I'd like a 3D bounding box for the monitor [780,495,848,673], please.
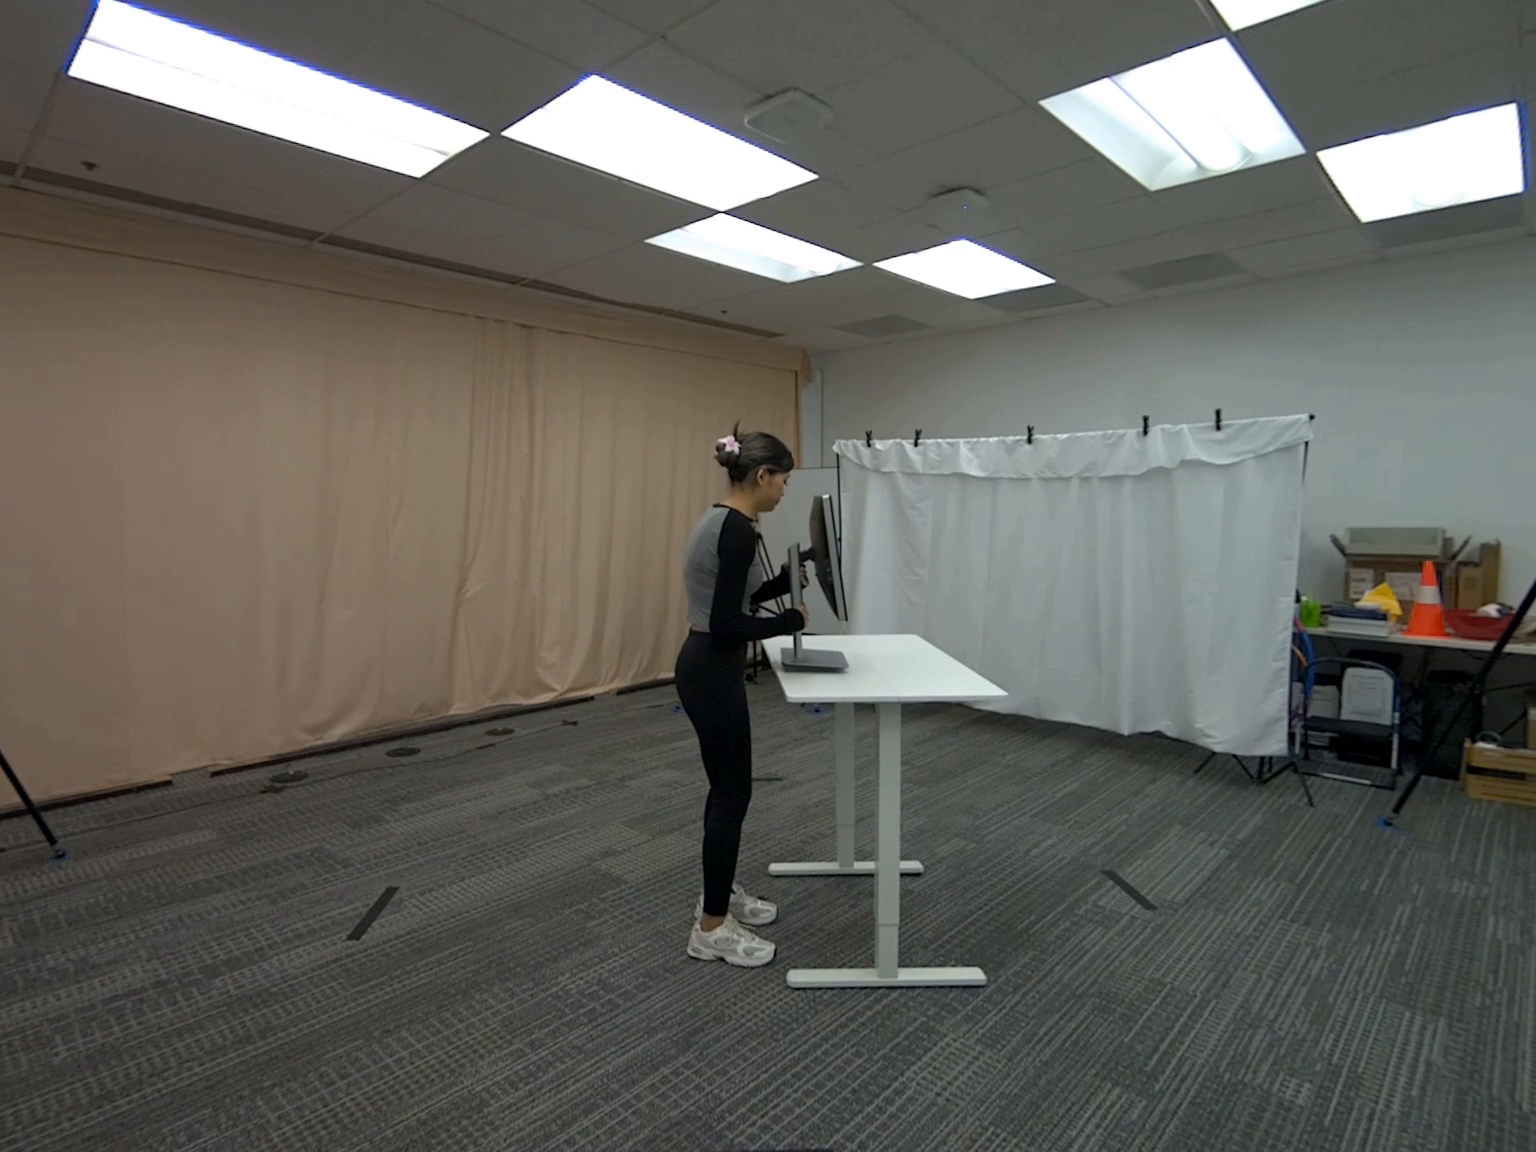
[{"bbox_3d":[0.154,0.018,2.654,0.187,0.521,0.540,4,6,-1],"label":"monitor"}]
